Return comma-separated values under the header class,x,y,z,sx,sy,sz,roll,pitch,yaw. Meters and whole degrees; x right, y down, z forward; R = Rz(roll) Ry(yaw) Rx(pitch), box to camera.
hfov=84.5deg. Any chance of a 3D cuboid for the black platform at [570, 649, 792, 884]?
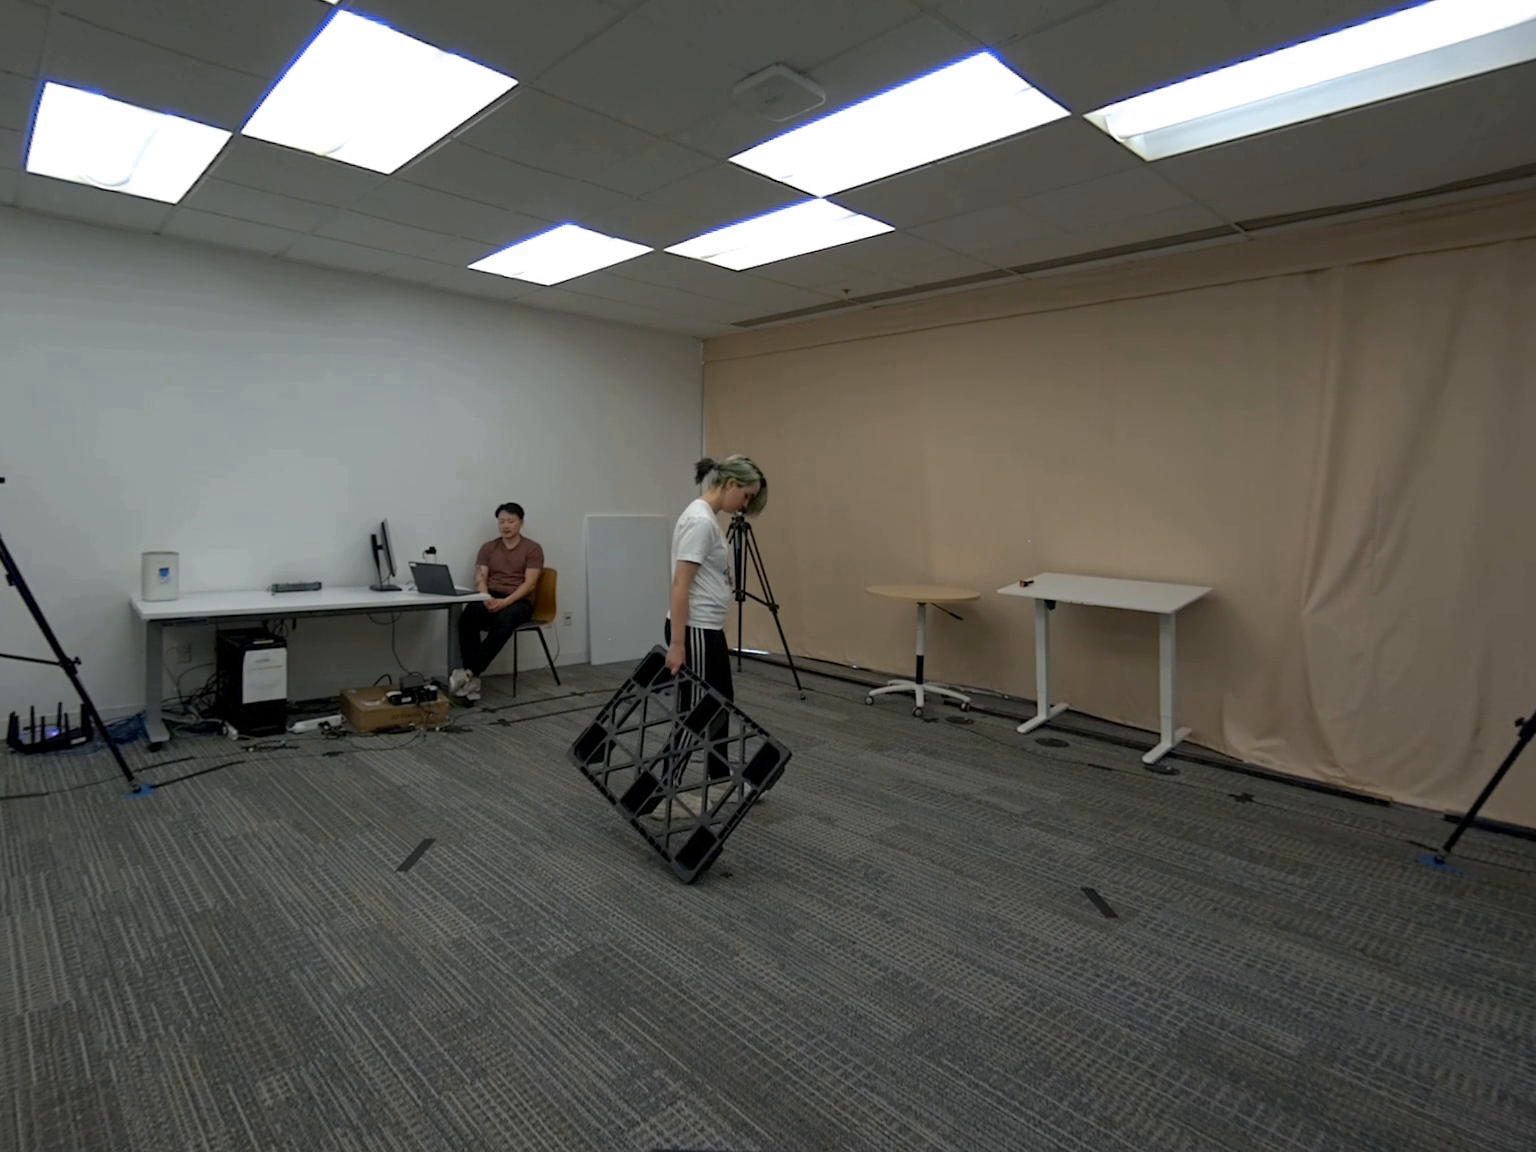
class,x,y,z,sx,sy,sz,roll,pitch,yaw
black platform,-0.362,0.725,3.333,0.830,0.605,0.139,32,-11,36
